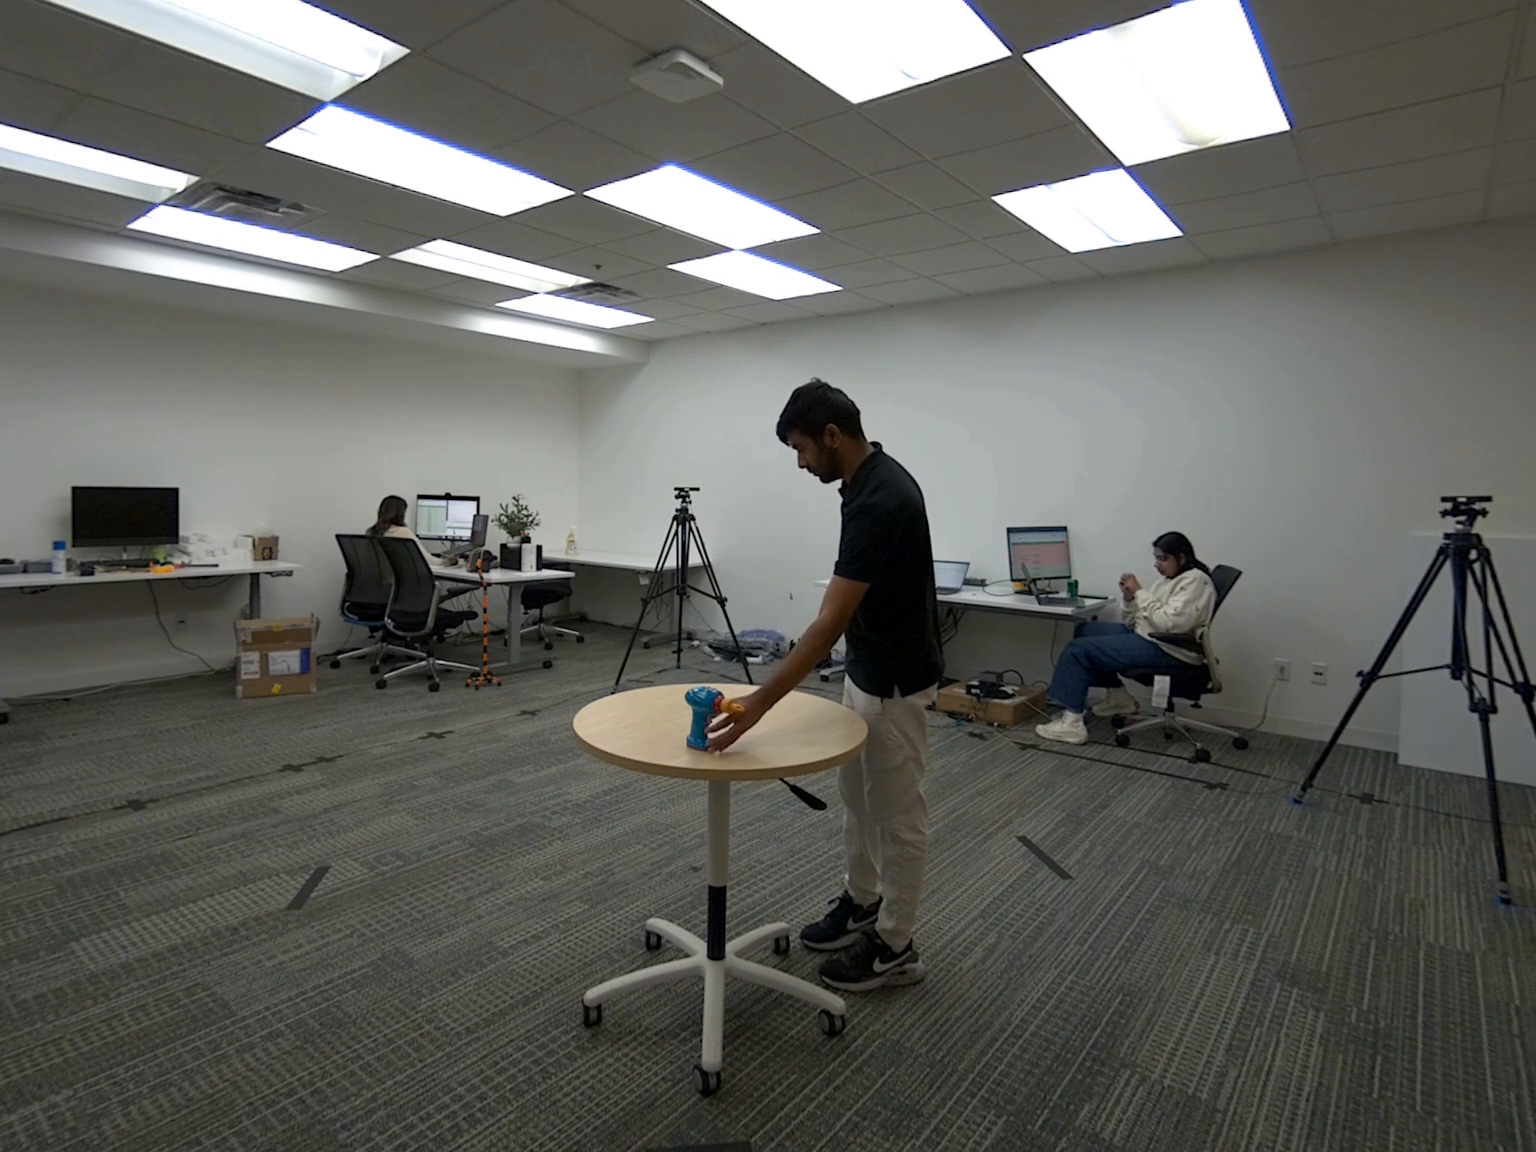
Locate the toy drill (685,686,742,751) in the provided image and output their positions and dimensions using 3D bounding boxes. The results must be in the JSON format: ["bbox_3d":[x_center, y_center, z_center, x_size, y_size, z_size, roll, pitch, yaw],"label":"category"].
[{"bbox_3d":[-0.126,0.332,1.983,0.174,0.146,0.059,3,-2,27],"label":"toy drill"}]
